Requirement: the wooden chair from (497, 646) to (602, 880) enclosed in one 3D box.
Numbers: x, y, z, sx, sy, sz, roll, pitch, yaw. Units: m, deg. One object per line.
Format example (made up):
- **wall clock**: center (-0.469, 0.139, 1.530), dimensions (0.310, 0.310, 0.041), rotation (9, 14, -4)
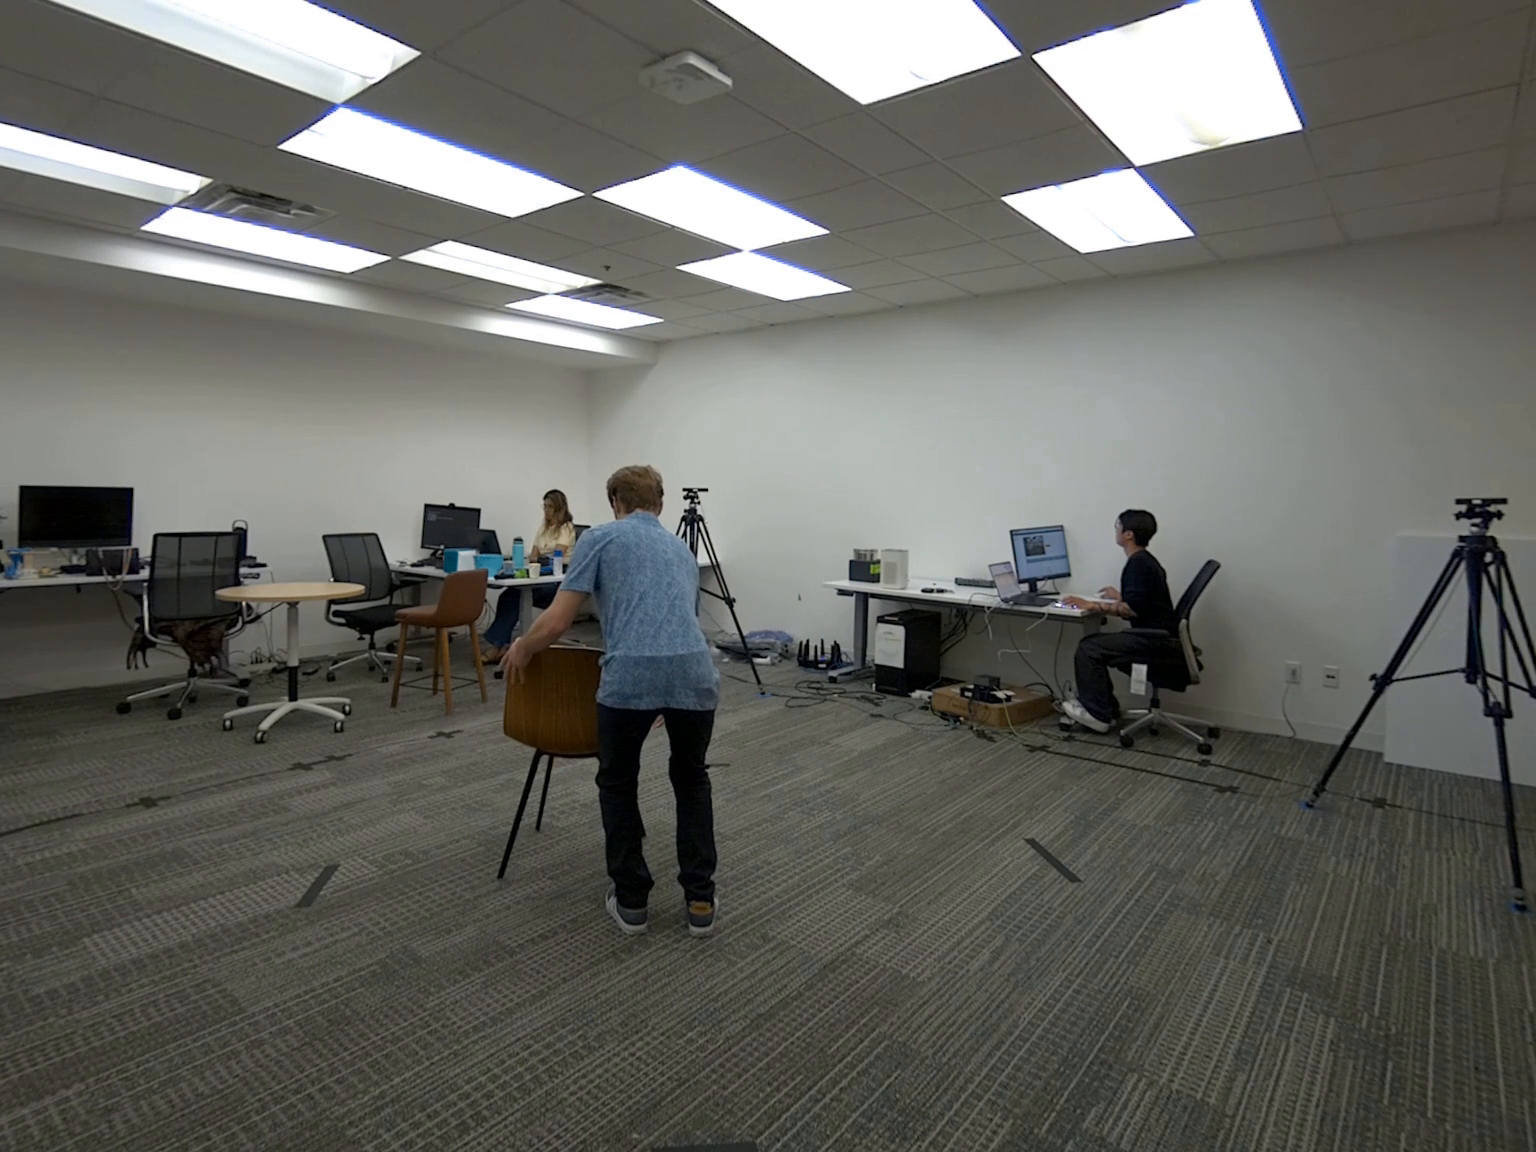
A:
- **wooden chair**: center (-0.726, 0.623, 3.188), dimensions (0.481, 0.872, 0.524), rotation (1, 7, 4)
